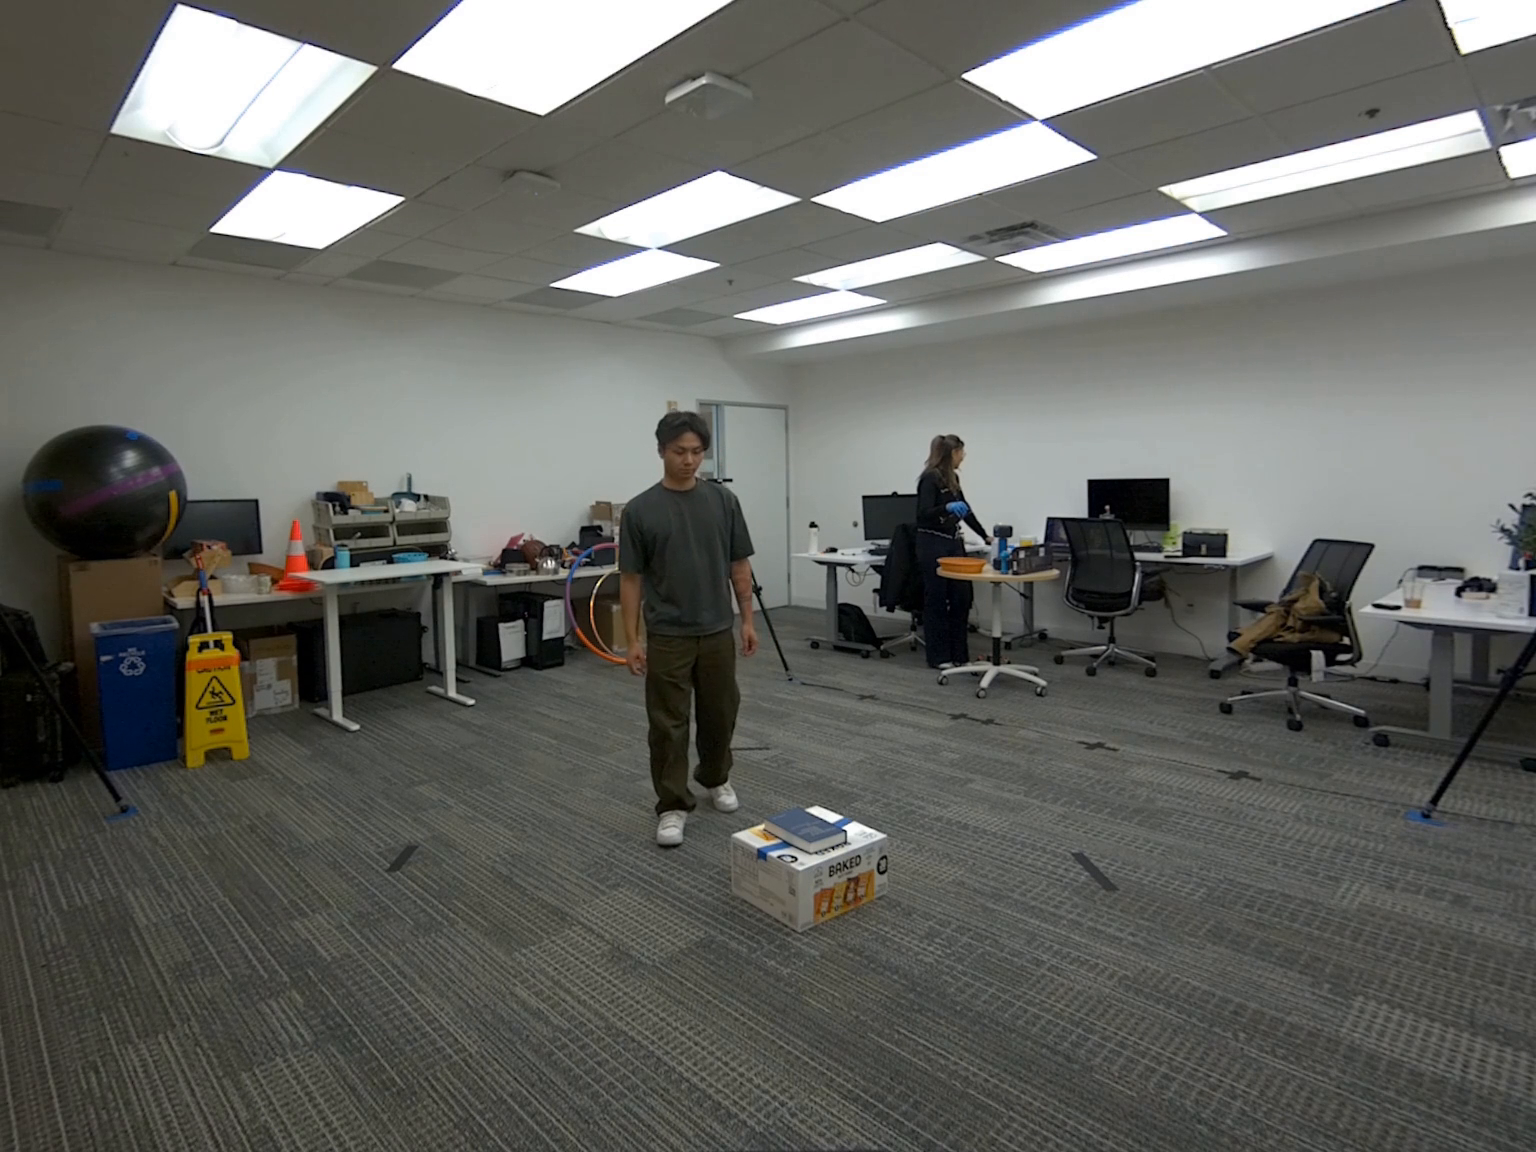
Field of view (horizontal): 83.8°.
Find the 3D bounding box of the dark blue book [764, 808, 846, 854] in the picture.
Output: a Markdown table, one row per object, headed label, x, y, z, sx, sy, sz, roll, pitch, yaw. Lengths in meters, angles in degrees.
| label | x | y | z | sx | sy | sz | roll | pitch | yaw |
| --- | --- | --- | --- | --- | --- | --- | --- | --- | --- |
| dark blue book | 0.134 | 0.855 | 2.861 | 0.159 | 0.045 | 0.253 | -6 | 8 | -37 |
